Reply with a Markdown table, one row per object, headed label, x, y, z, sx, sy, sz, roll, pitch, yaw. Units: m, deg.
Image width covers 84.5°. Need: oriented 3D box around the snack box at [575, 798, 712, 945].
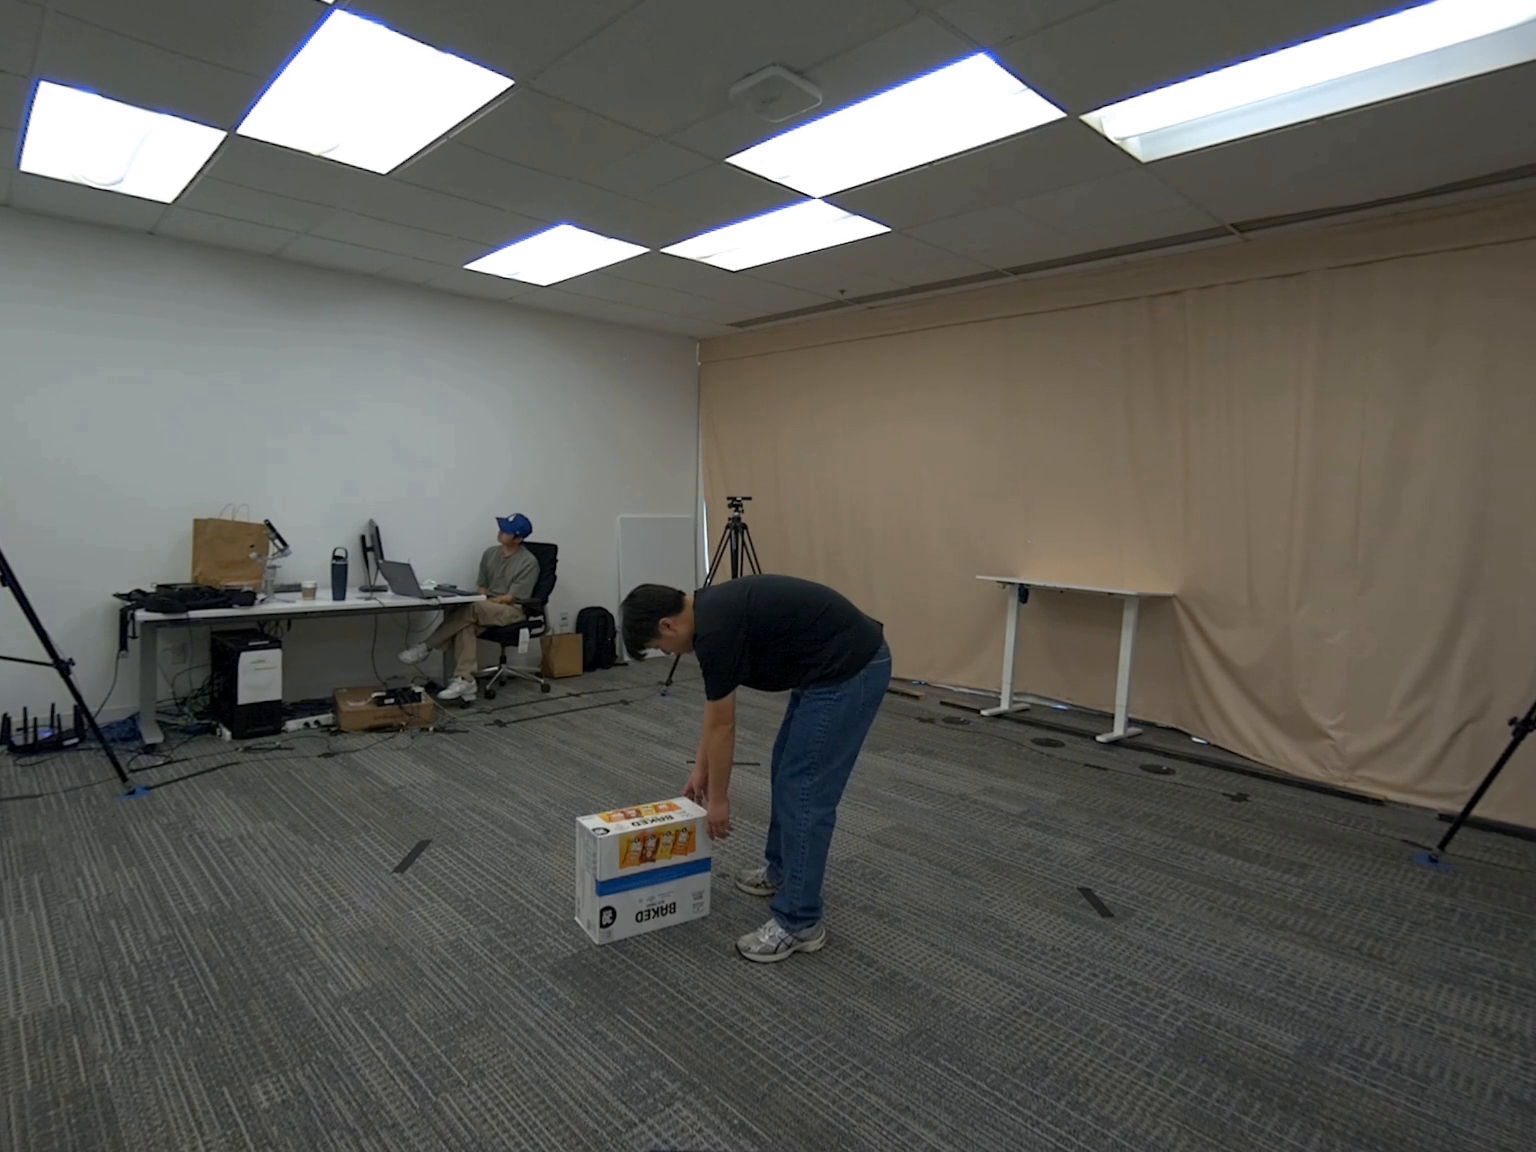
| label | x | y | z | sx | sy | sz | roll | pitch | yaw |
| --- | --- | --- | --- | --- | --- | --- | --- | --- | --- |
| snack box | -0.412 | 0.961 | 2.778 | 0.397 | 0.340 | 0.210 | -1 | 3 | -32 |
